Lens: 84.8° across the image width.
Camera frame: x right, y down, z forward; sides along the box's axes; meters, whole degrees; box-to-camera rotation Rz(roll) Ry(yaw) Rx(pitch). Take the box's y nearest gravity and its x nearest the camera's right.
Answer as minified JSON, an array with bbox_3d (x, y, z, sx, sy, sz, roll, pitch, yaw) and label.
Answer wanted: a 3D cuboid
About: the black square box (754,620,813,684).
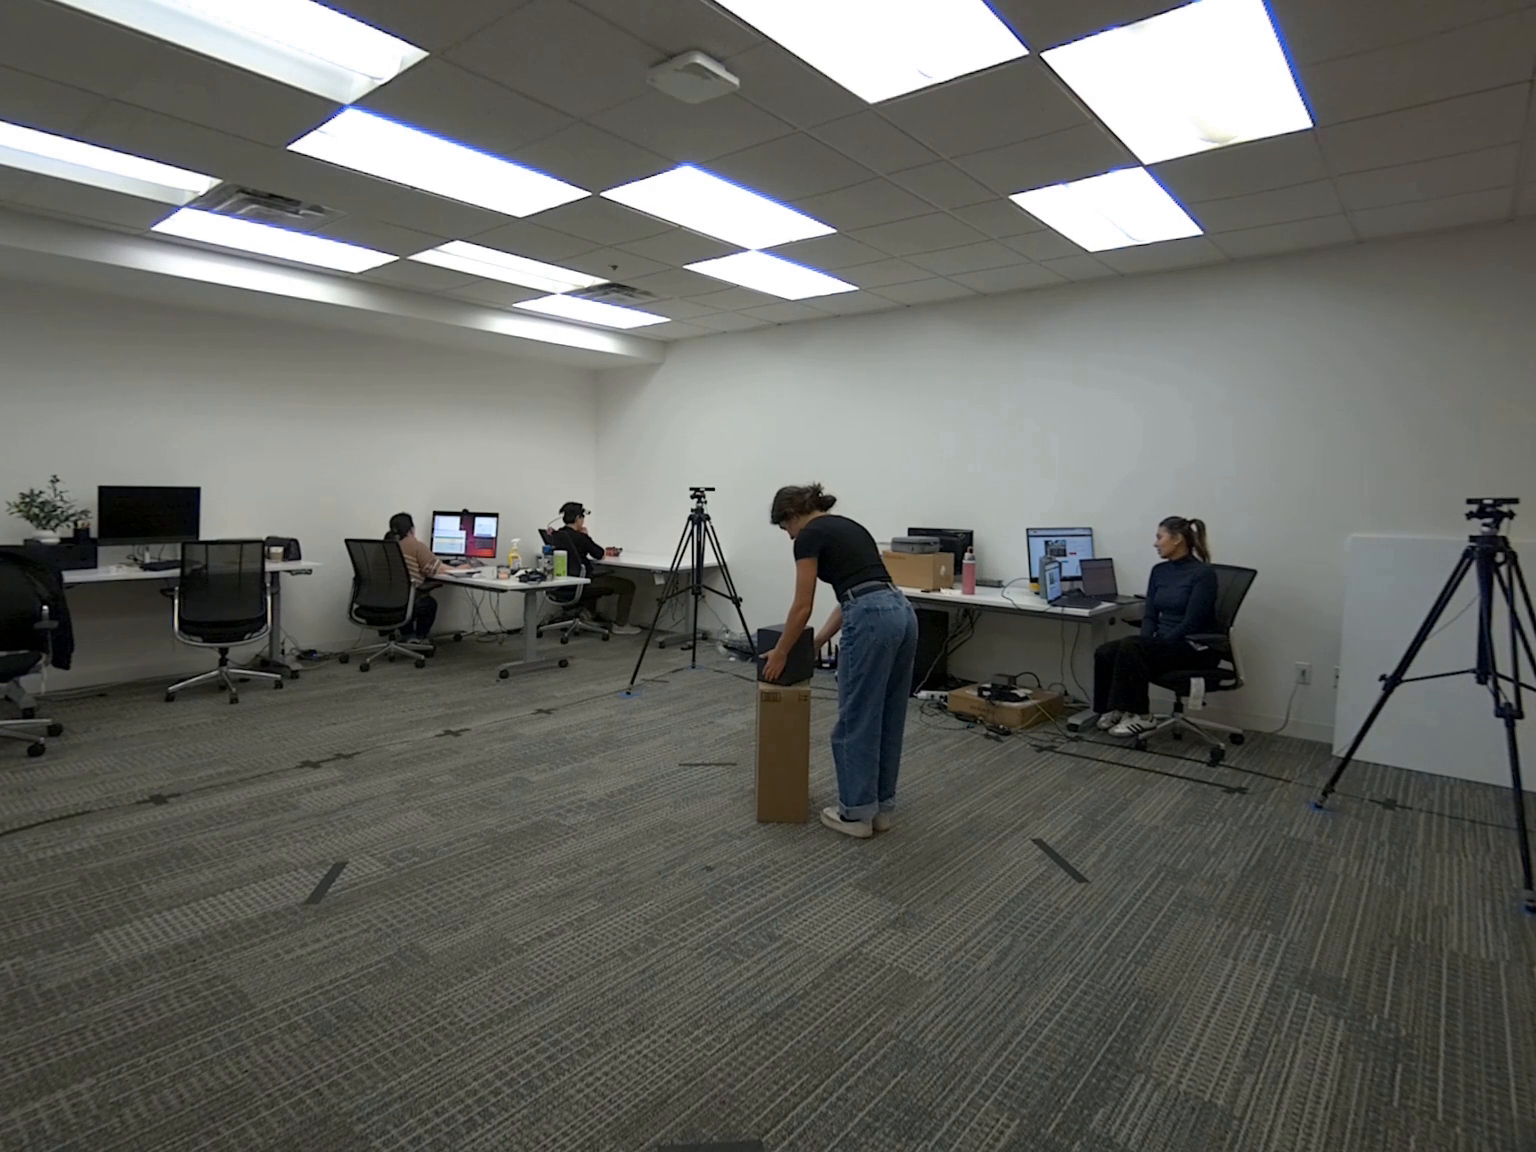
[{"bbox_3d":[0.066,0.328,3.708,0.161,0.227,0.211,3,5,38],"label":"black square box"}]
